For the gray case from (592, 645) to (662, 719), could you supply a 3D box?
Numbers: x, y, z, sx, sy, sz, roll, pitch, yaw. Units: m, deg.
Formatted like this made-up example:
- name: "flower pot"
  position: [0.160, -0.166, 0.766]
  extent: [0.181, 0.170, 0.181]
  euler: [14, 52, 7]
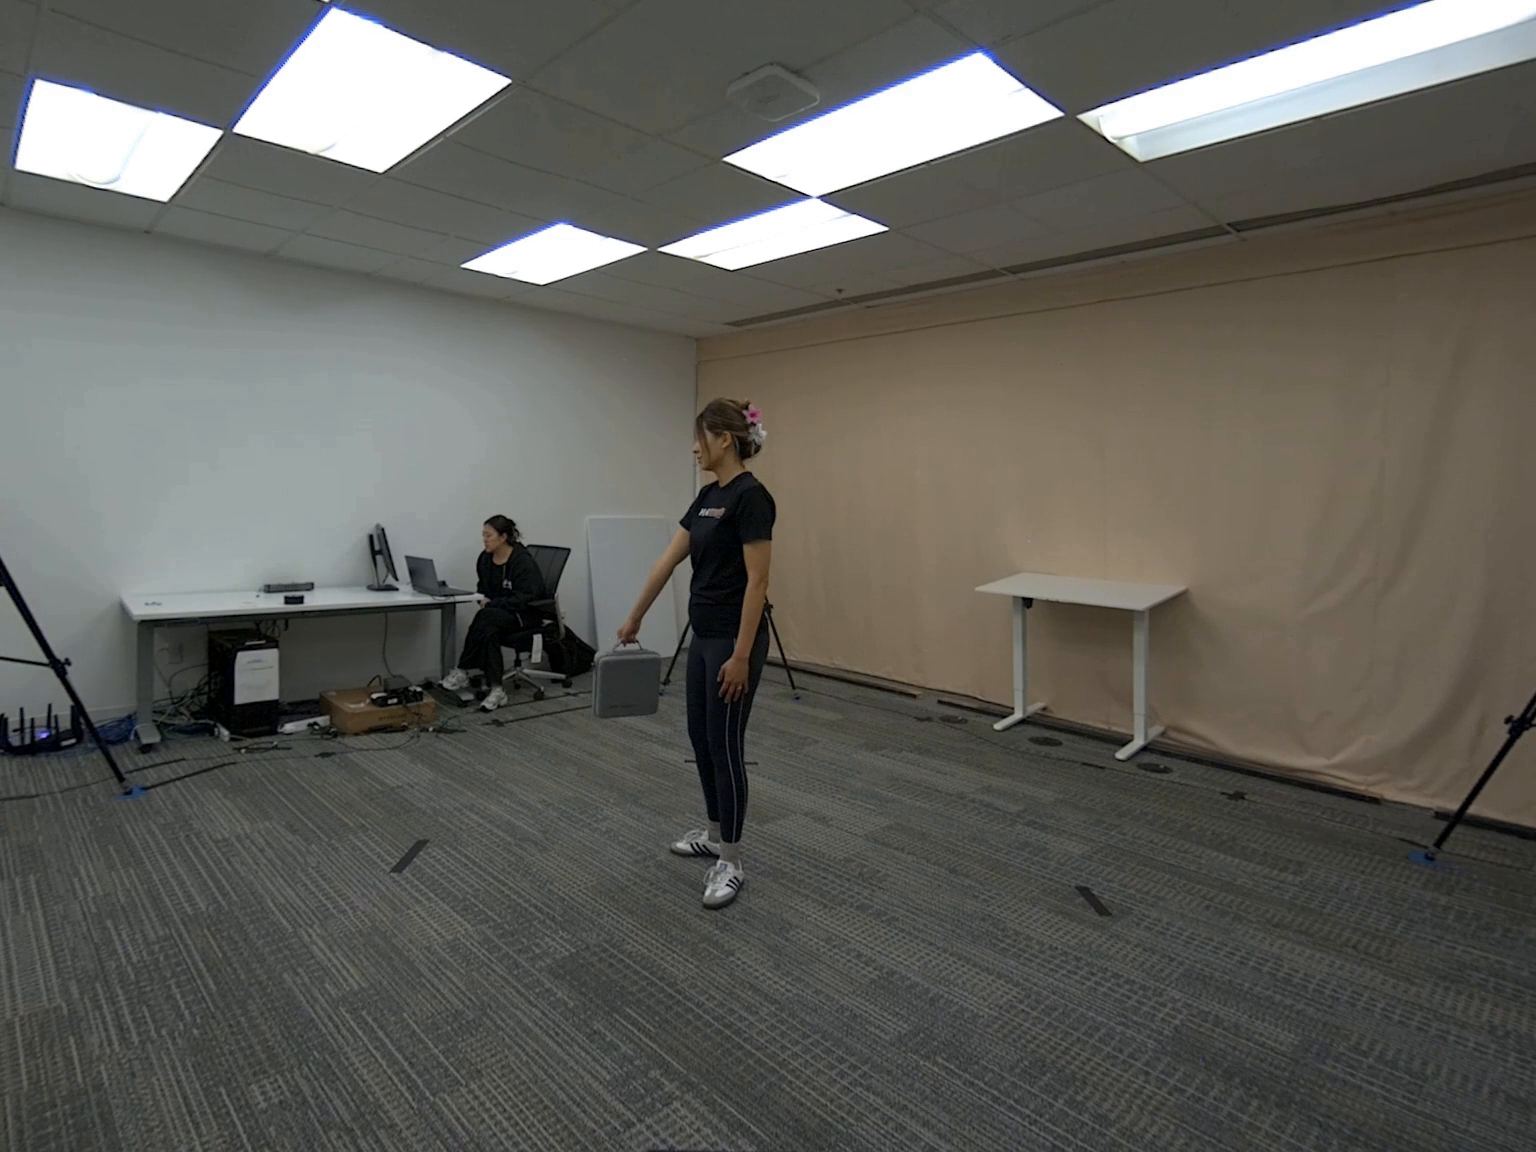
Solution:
- name: "gray case"
  position: [-0.553, 0.408, 3.256]
  extent: [0.252, 0.259, 0.107]
  euler: [0, 12, -24]
